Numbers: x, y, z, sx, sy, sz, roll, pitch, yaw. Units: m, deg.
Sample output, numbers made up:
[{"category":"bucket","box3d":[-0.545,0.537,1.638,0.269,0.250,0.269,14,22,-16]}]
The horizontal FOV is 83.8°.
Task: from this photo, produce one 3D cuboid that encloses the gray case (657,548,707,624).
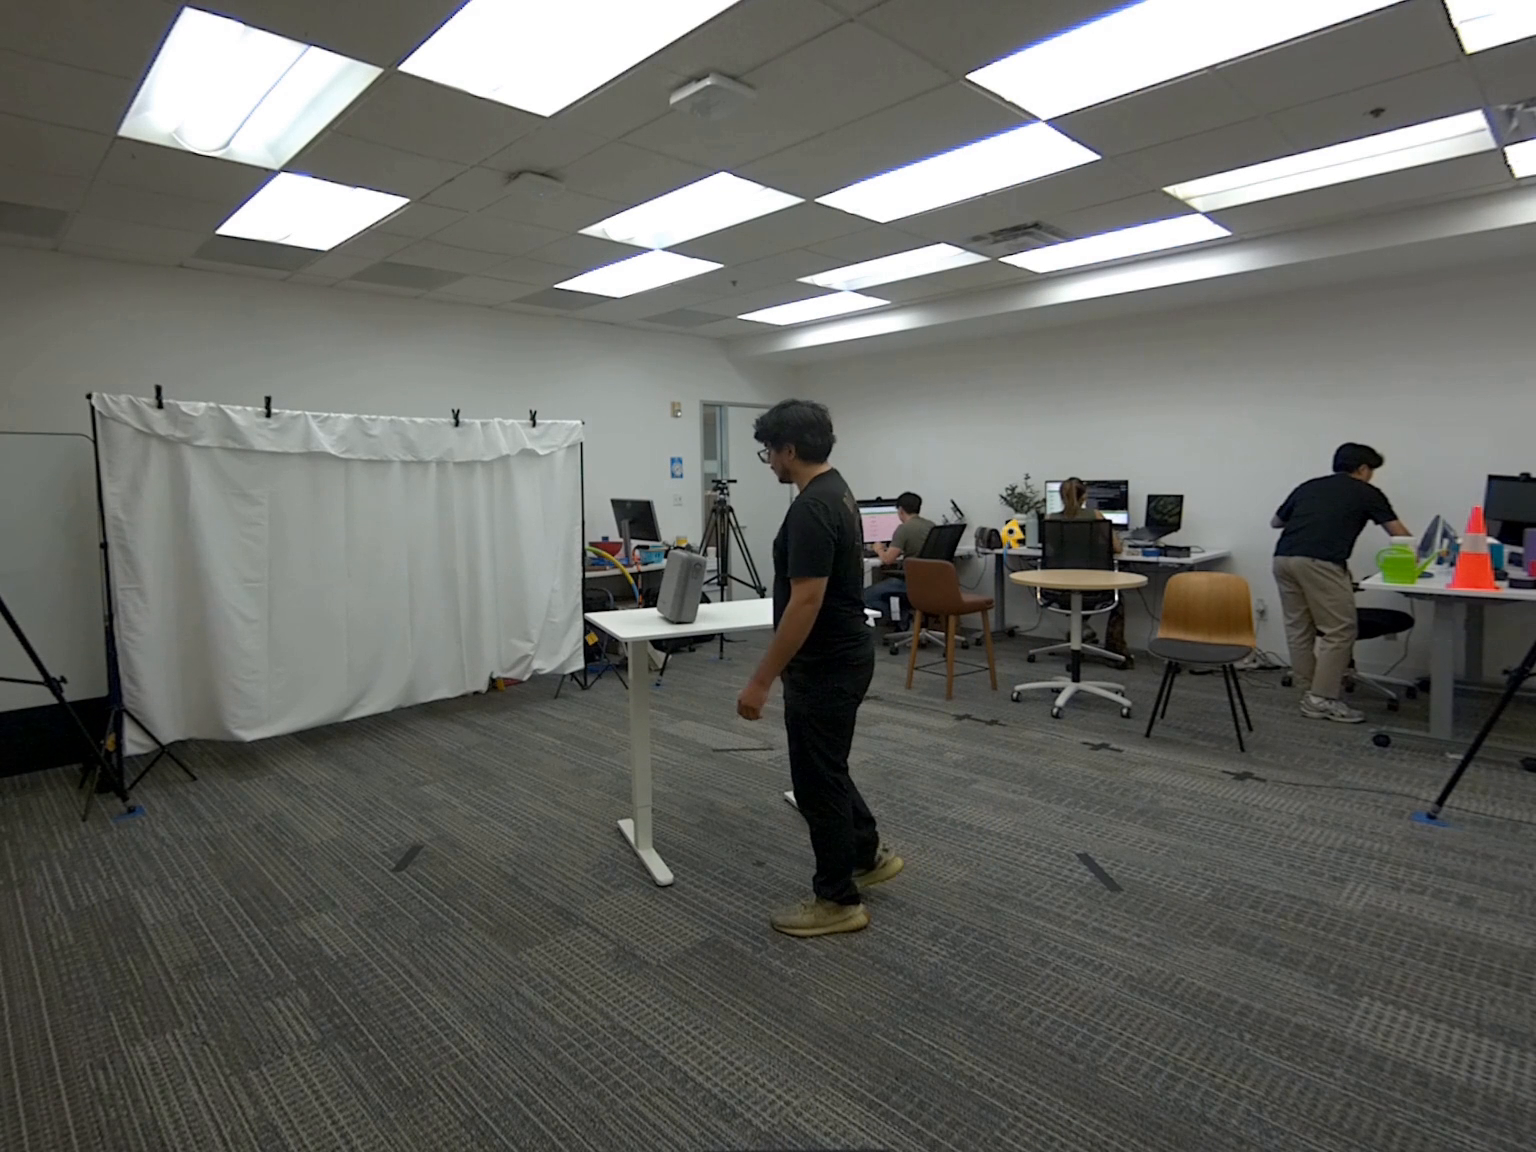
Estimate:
[{"category":"gray case","box3d":[-0.322,0.035,3.177,0.102,0.260,0.261,7,2,-17]}]
